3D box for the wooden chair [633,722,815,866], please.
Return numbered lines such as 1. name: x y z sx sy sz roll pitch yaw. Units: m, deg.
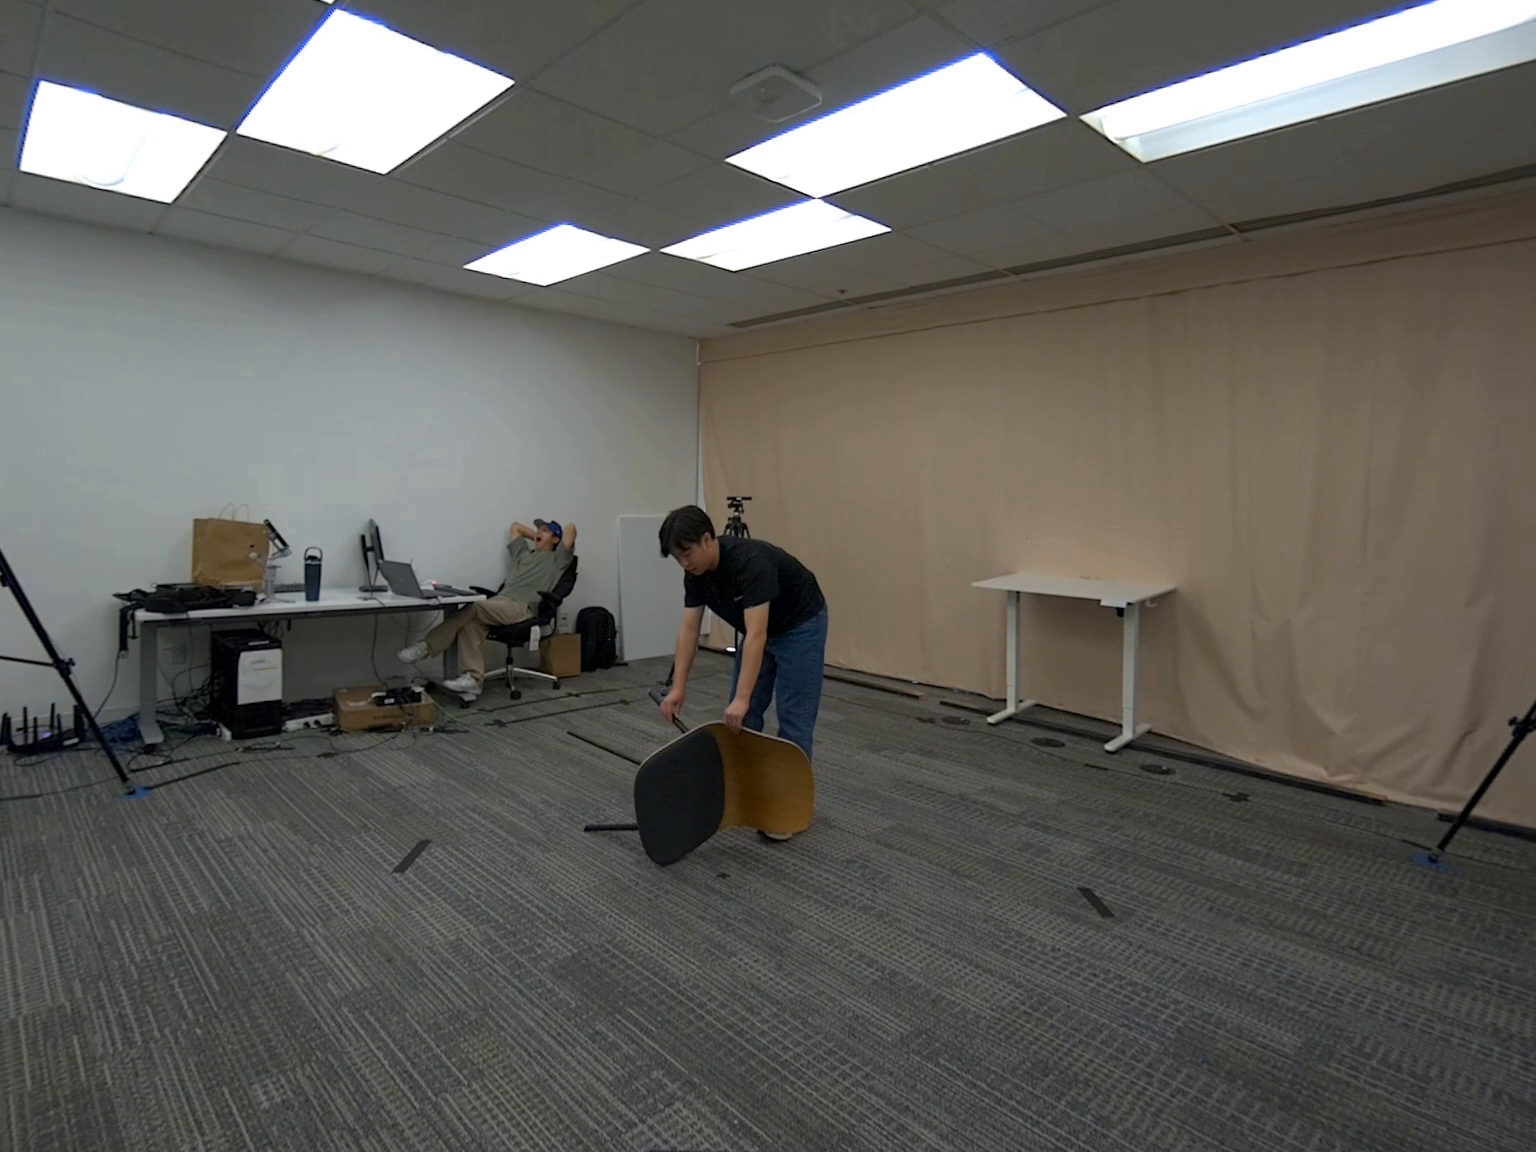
1. wooden chair: -0.330 0.833 3.291 0.899 0.473 0.516 6 19 38
